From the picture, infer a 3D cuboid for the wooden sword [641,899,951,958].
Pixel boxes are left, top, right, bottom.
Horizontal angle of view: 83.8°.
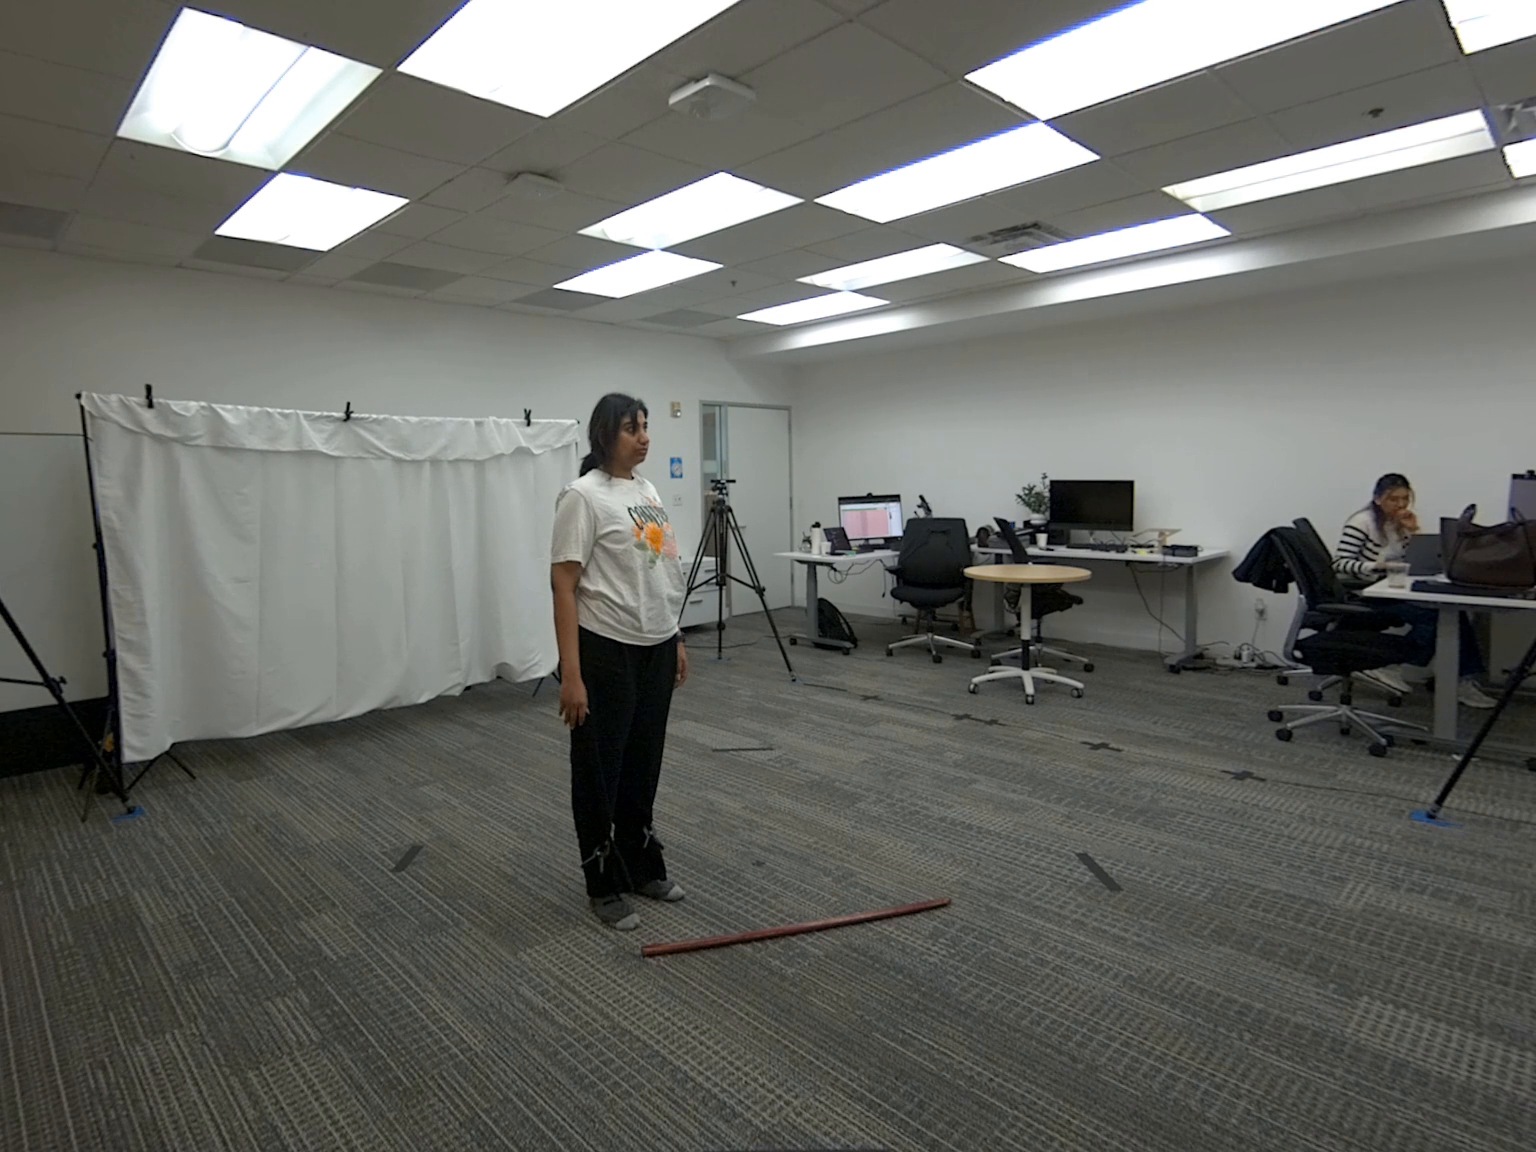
[{"bbox_3d":[0.118,1.074,2.659,1.011,0.024,0.051,-3,-15,-15],"label":"wooden sword"}]
